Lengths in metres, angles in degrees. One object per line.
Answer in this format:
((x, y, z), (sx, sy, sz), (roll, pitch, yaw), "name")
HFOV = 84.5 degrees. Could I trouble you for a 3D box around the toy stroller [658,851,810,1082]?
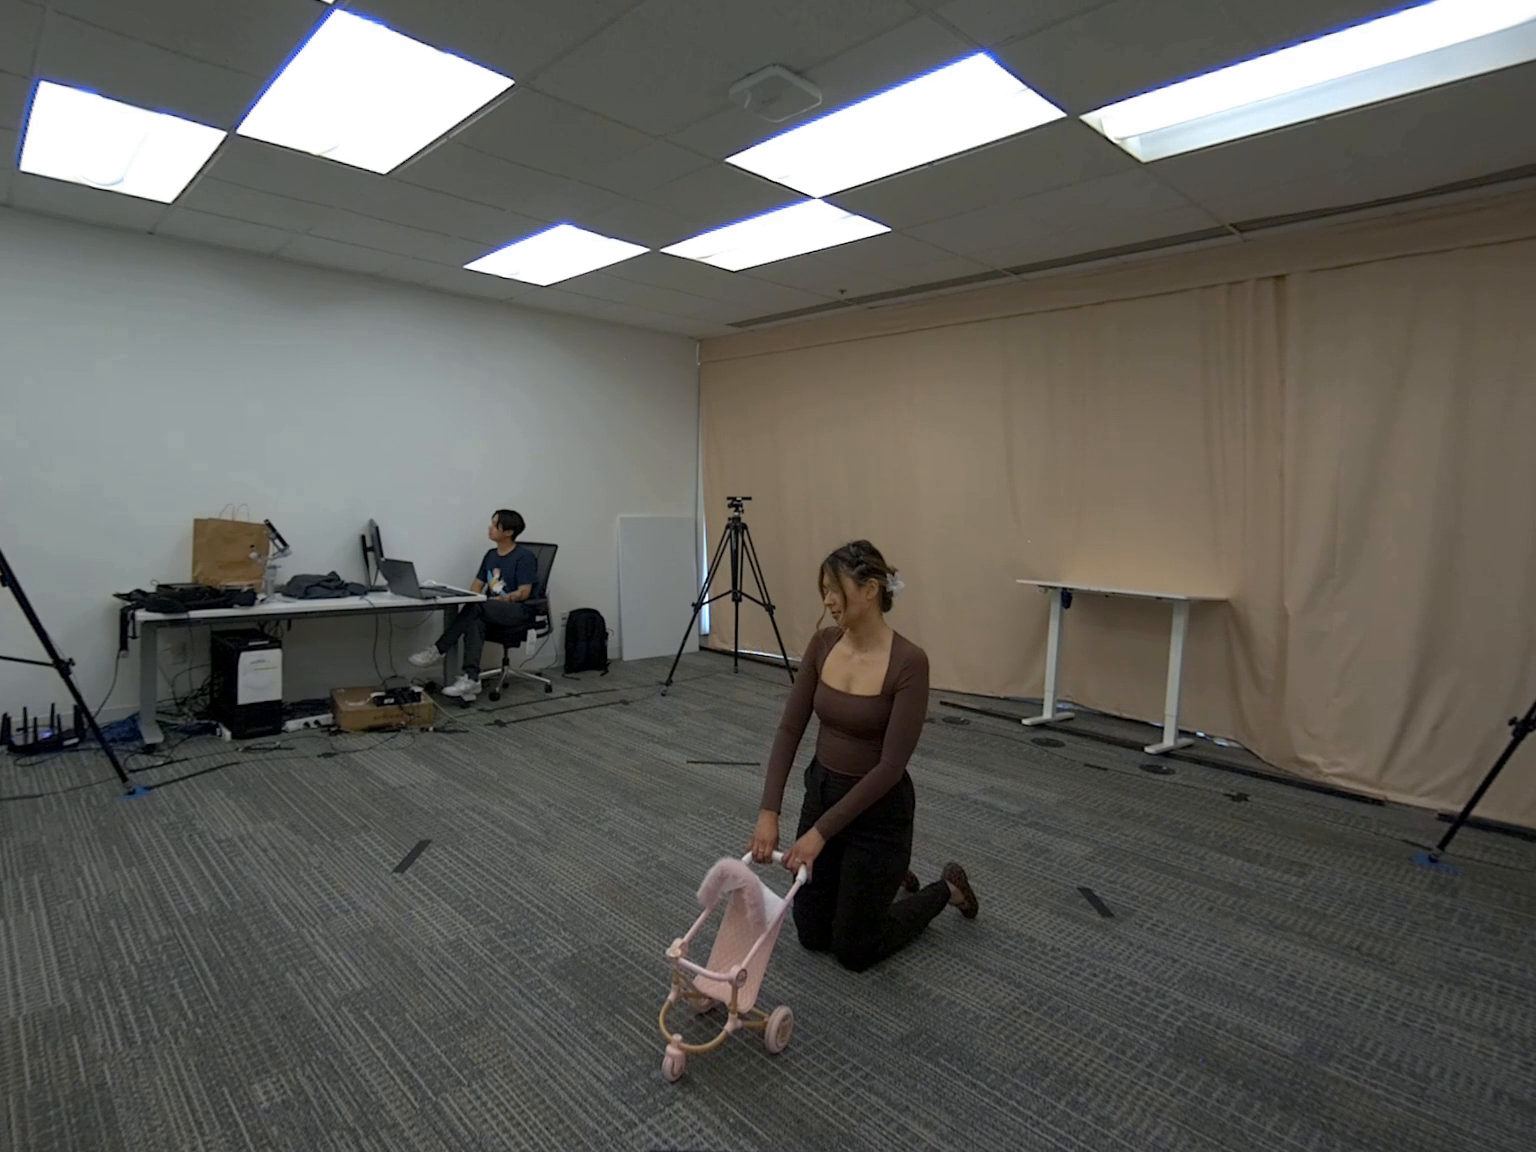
((-0.109, 0.975, 2.144), (0.288, 0.538, 0.331), (4, -13, 42), "toy stroller")
